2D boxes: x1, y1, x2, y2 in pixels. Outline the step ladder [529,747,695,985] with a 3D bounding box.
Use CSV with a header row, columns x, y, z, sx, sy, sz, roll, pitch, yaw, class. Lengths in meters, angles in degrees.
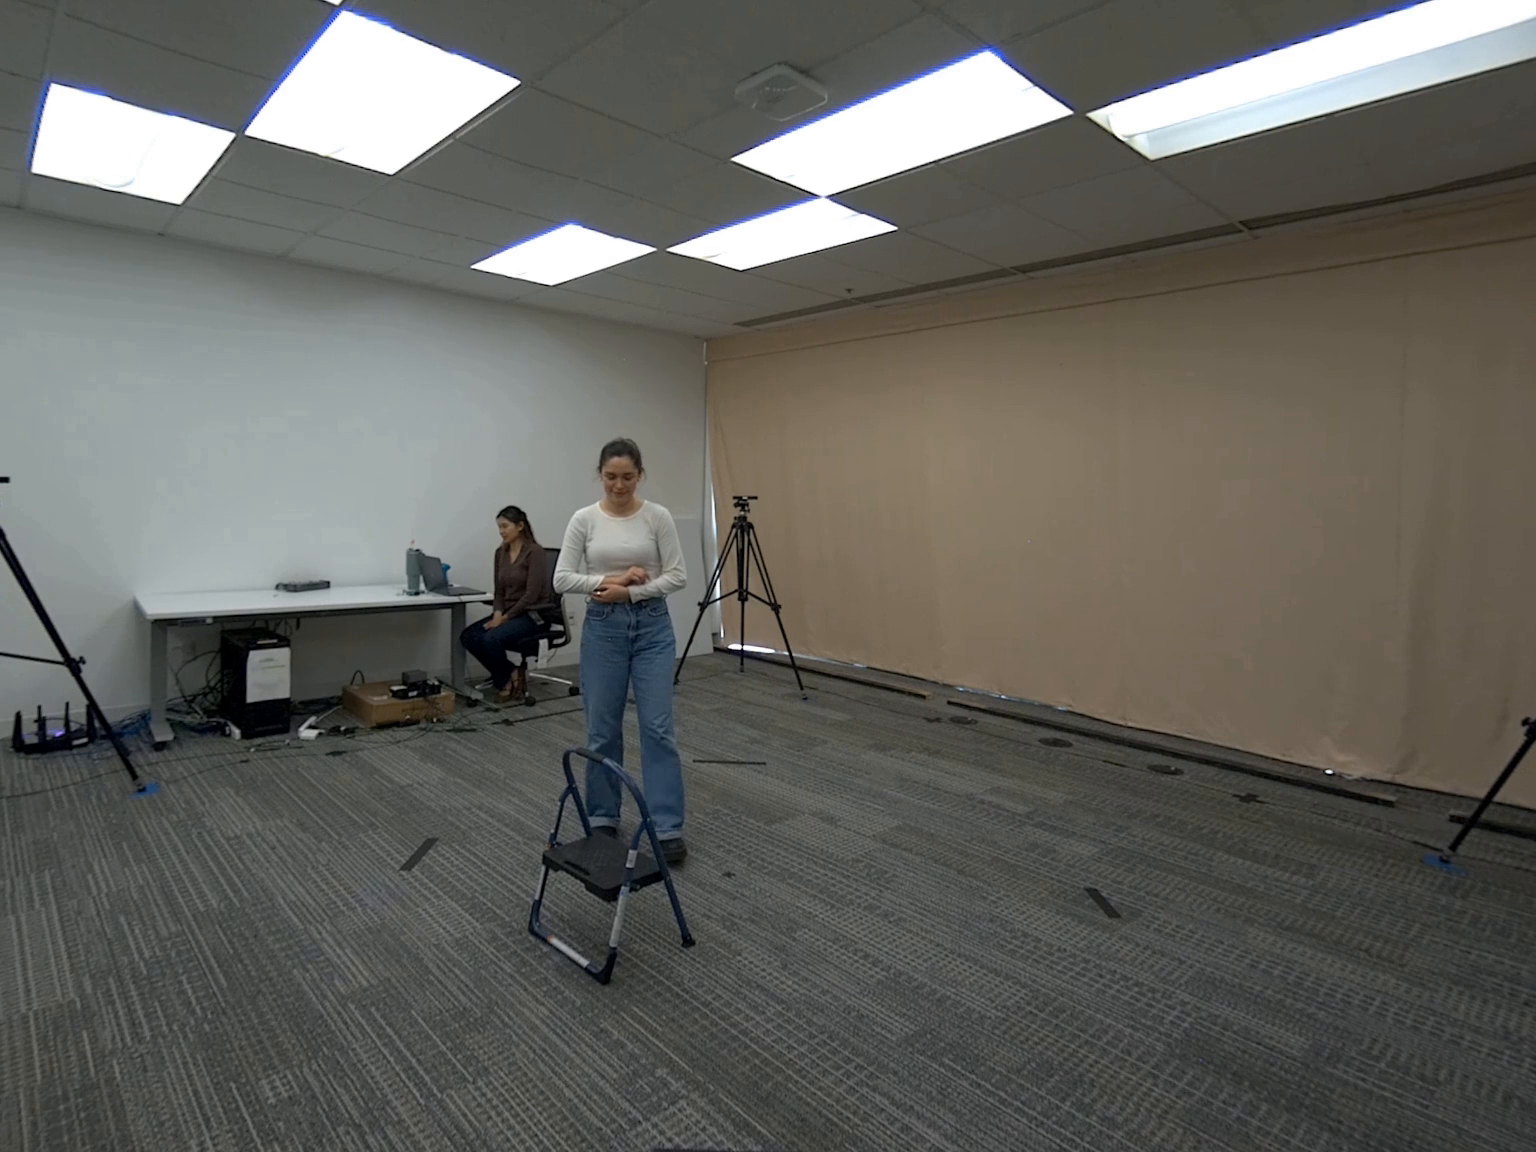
x,y,z,sx,sy,sz,roll,pitch,yaw,class
-0.496,0.838,2.627,0.441,0.604,0.341,4,5,44,step ladder
